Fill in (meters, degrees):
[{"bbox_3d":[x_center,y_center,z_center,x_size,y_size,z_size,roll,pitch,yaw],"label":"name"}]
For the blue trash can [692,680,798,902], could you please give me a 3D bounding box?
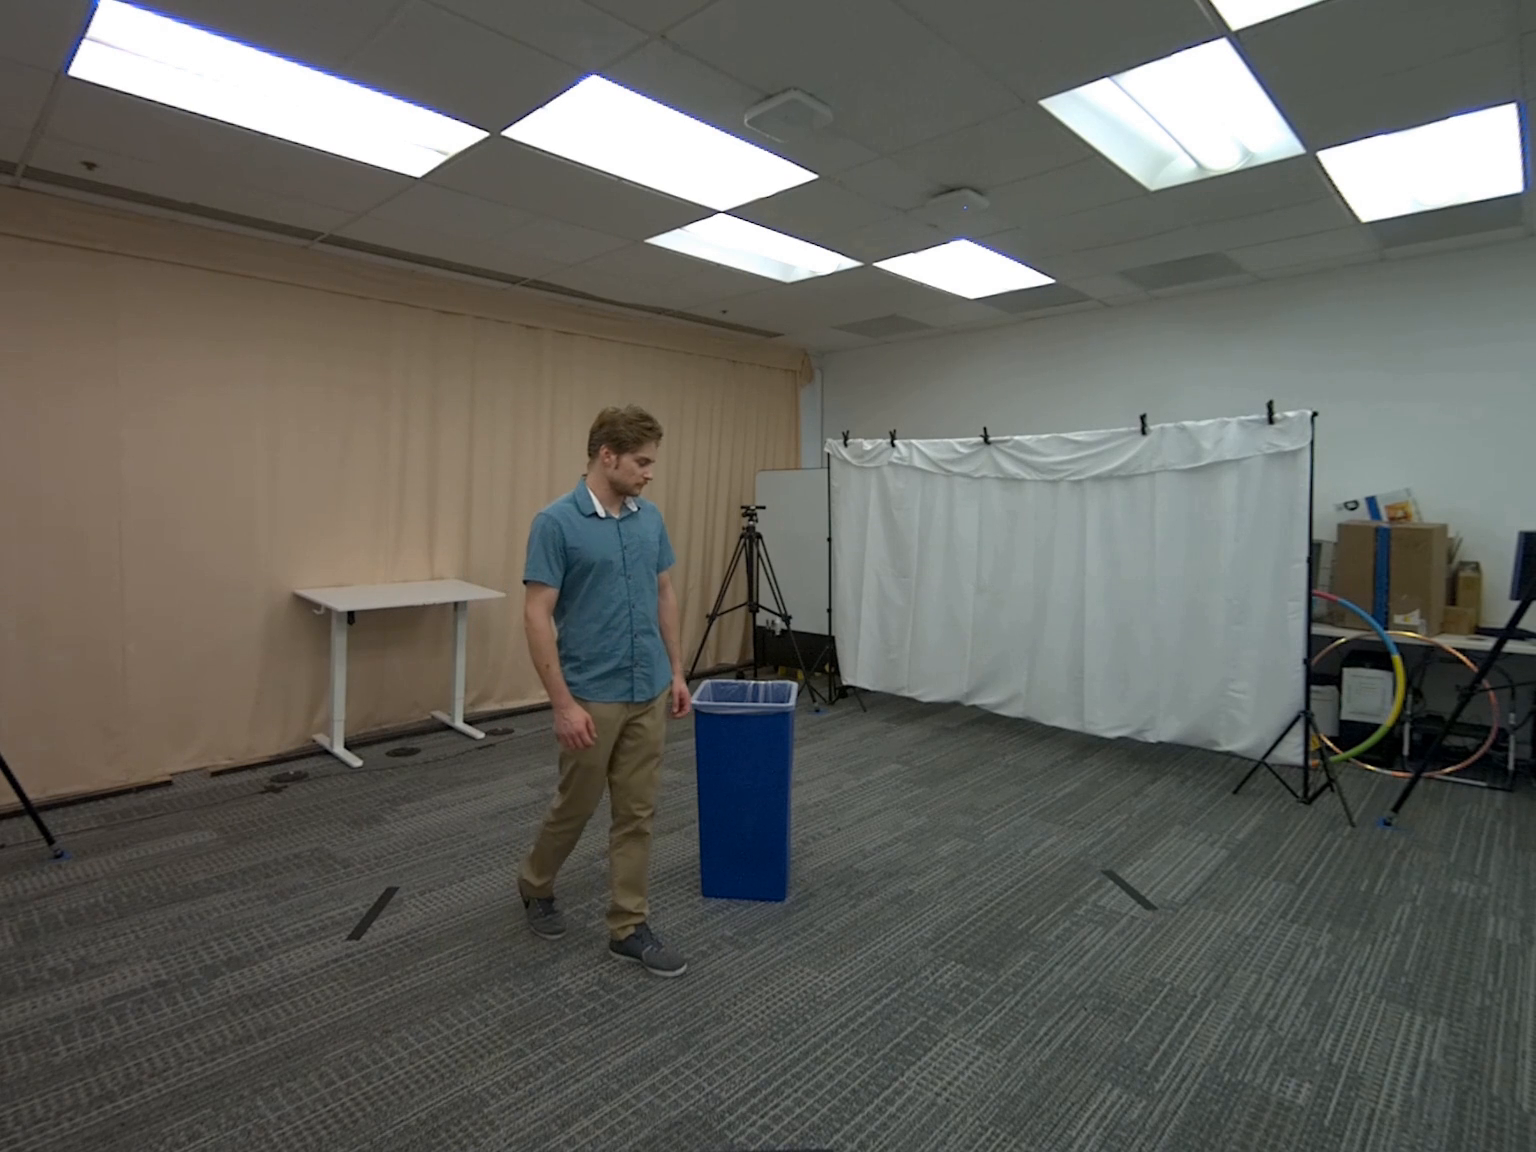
[{"bbox_3d":[-0.075,0.778,3.095,0.381,0.712,0.372,0,3,5],"label":"blue trash can"}]
